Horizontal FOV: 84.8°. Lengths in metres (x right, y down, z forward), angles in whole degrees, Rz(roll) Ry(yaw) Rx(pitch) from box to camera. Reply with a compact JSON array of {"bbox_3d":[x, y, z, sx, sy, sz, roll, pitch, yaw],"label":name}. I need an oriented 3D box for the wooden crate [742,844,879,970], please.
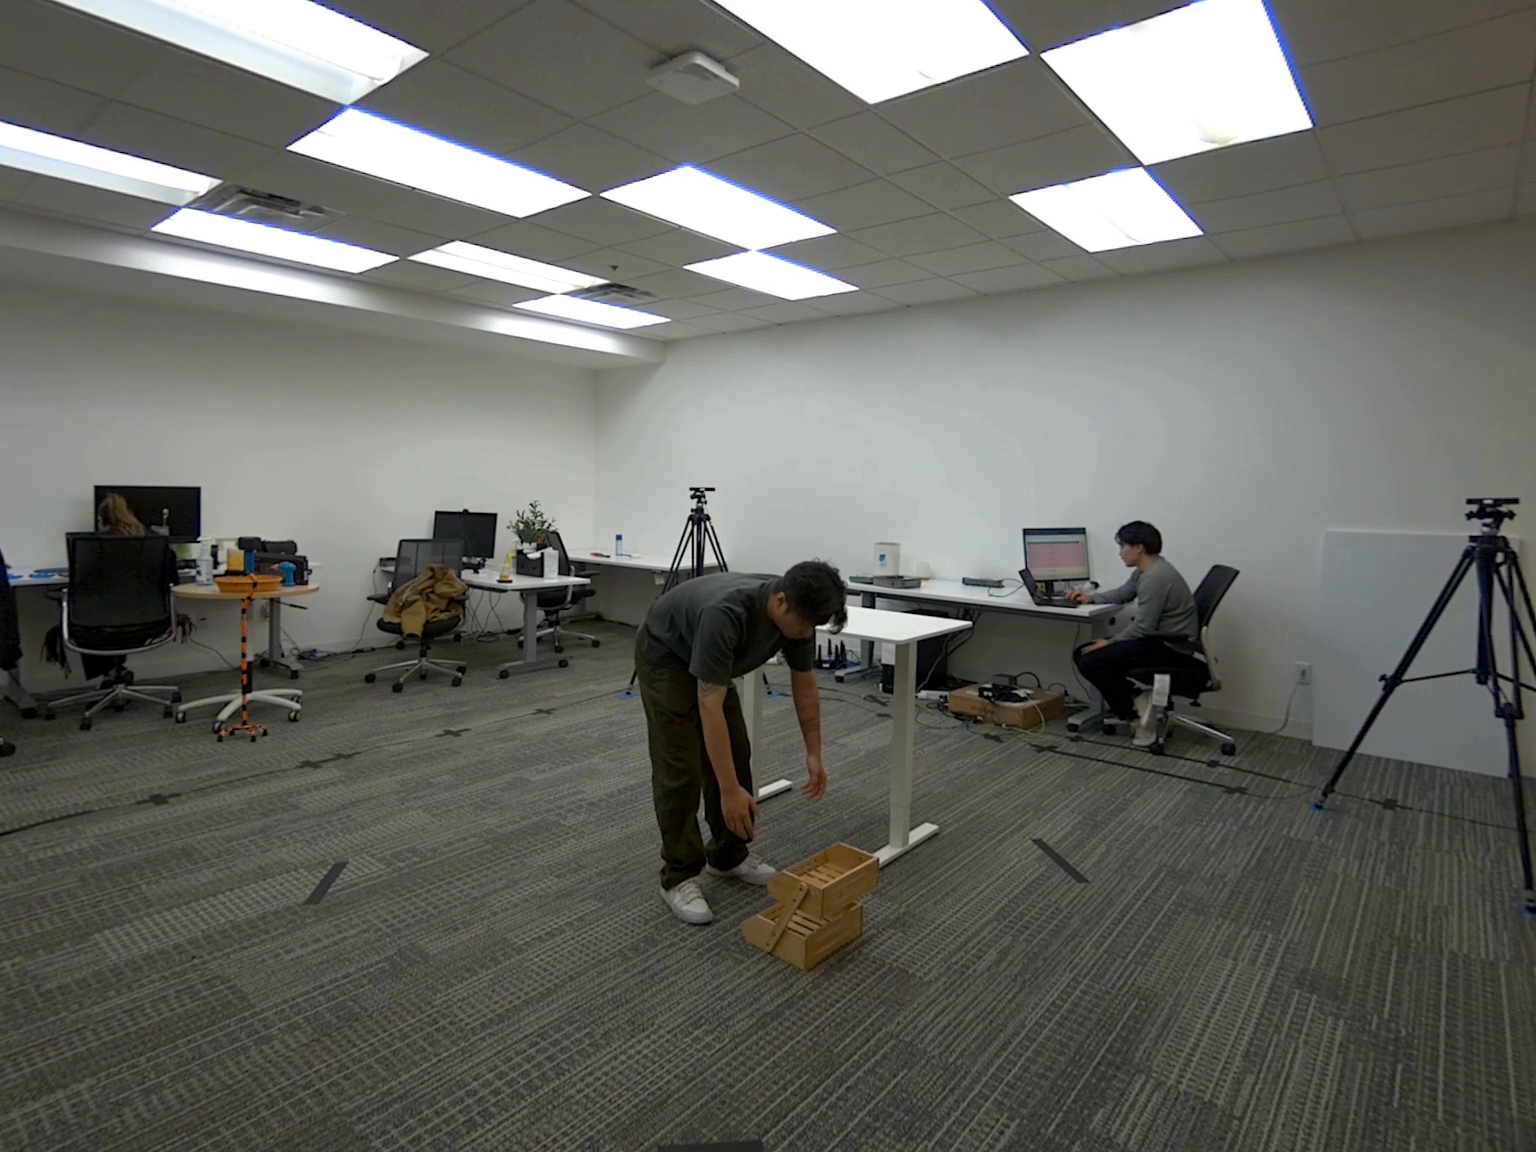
[{"bbox_3d":[0.124,0.987,2.628,0.312,0.272,0.314,5,5,41],"label":"wooden crate"}]
